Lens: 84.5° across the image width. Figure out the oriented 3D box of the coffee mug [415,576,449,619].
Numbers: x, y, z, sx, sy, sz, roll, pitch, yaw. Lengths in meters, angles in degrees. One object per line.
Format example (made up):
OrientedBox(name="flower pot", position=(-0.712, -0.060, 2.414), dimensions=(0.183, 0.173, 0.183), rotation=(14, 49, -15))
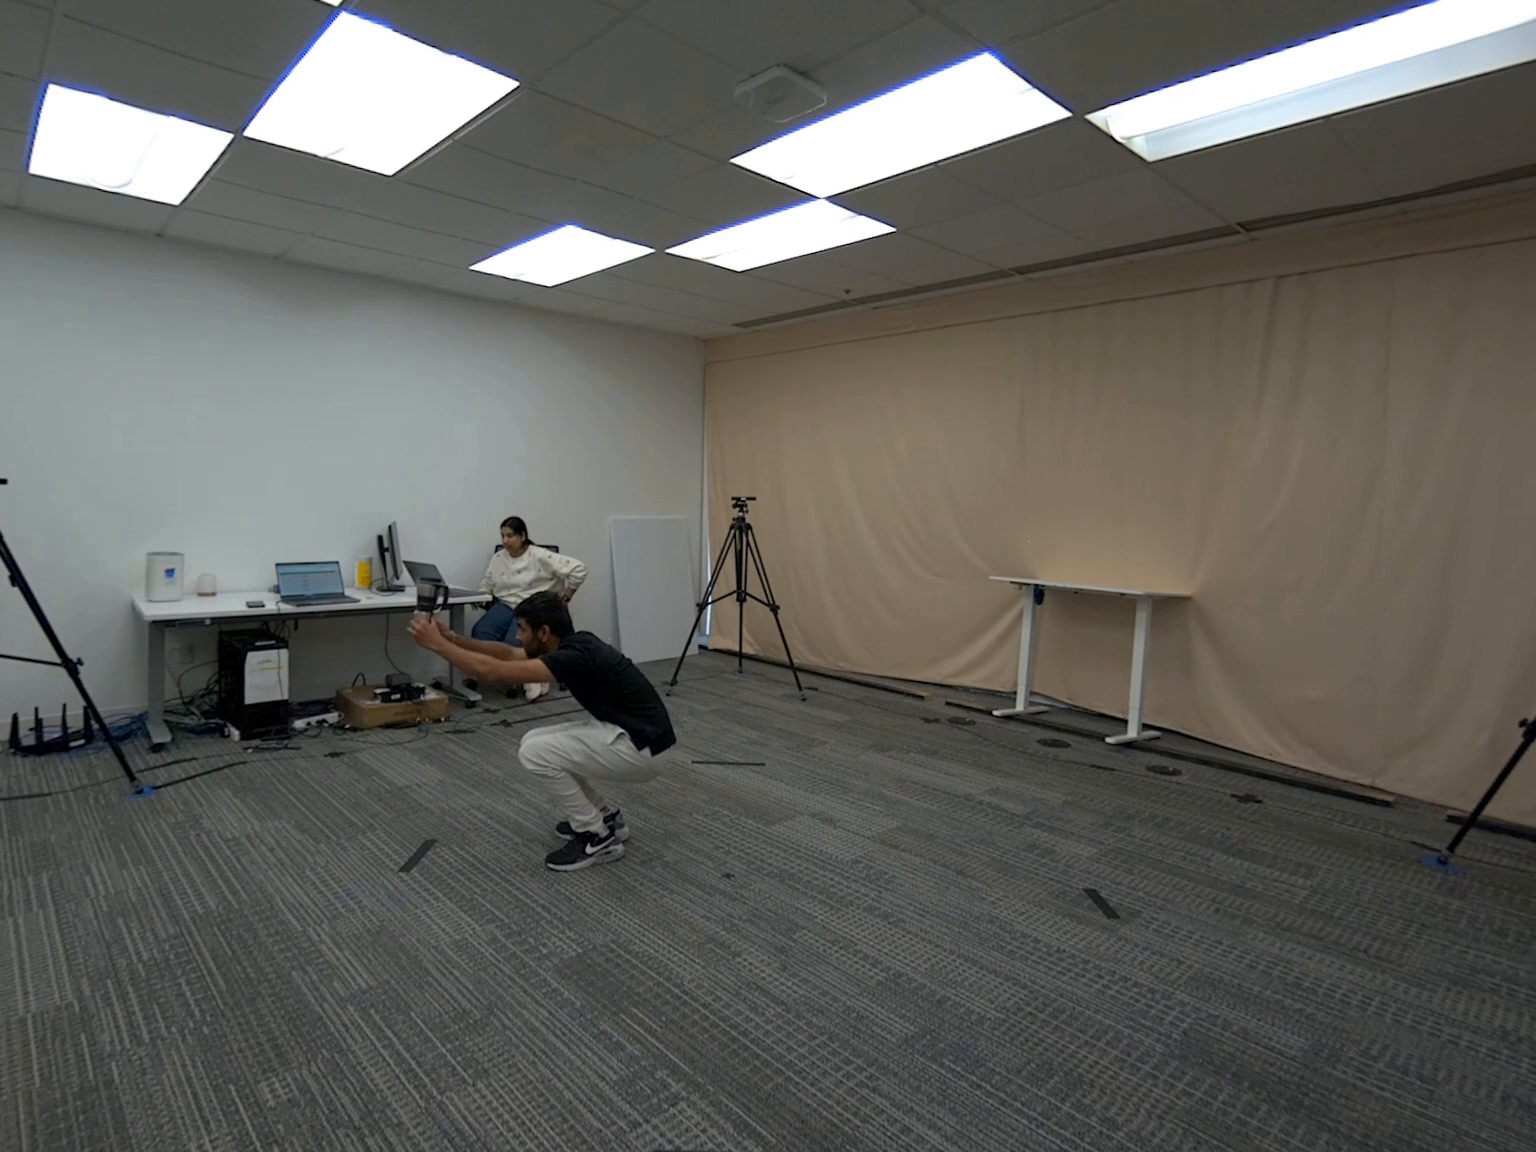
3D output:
OrientedBox(name="coffee mug", position=(-1.287, 0.115, 3.184), dimensions=(0.085, 0.203, 0.125), rotation=(9, -5, -37))
